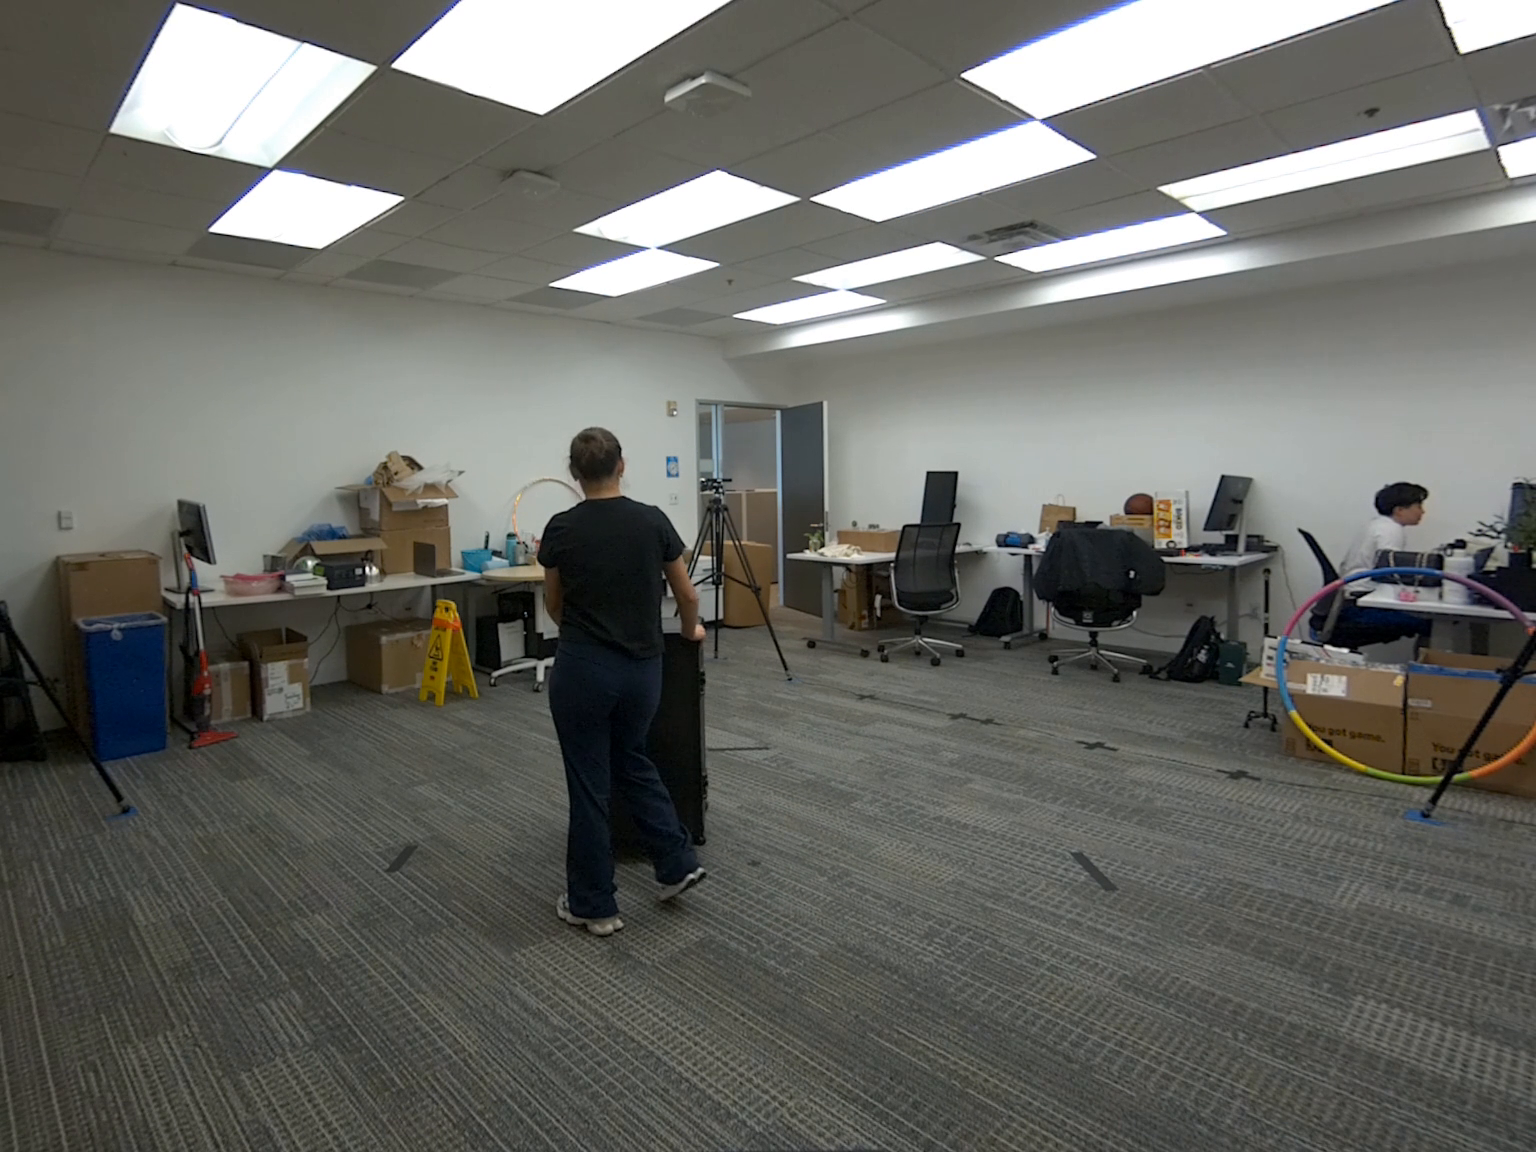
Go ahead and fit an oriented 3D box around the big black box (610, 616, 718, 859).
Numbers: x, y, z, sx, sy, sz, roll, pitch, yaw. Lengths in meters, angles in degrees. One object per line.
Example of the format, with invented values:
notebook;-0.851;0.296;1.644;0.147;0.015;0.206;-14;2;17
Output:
big black box;-0.492;0.609;3.275;0.521;0.860;0.397;-1;2;0
